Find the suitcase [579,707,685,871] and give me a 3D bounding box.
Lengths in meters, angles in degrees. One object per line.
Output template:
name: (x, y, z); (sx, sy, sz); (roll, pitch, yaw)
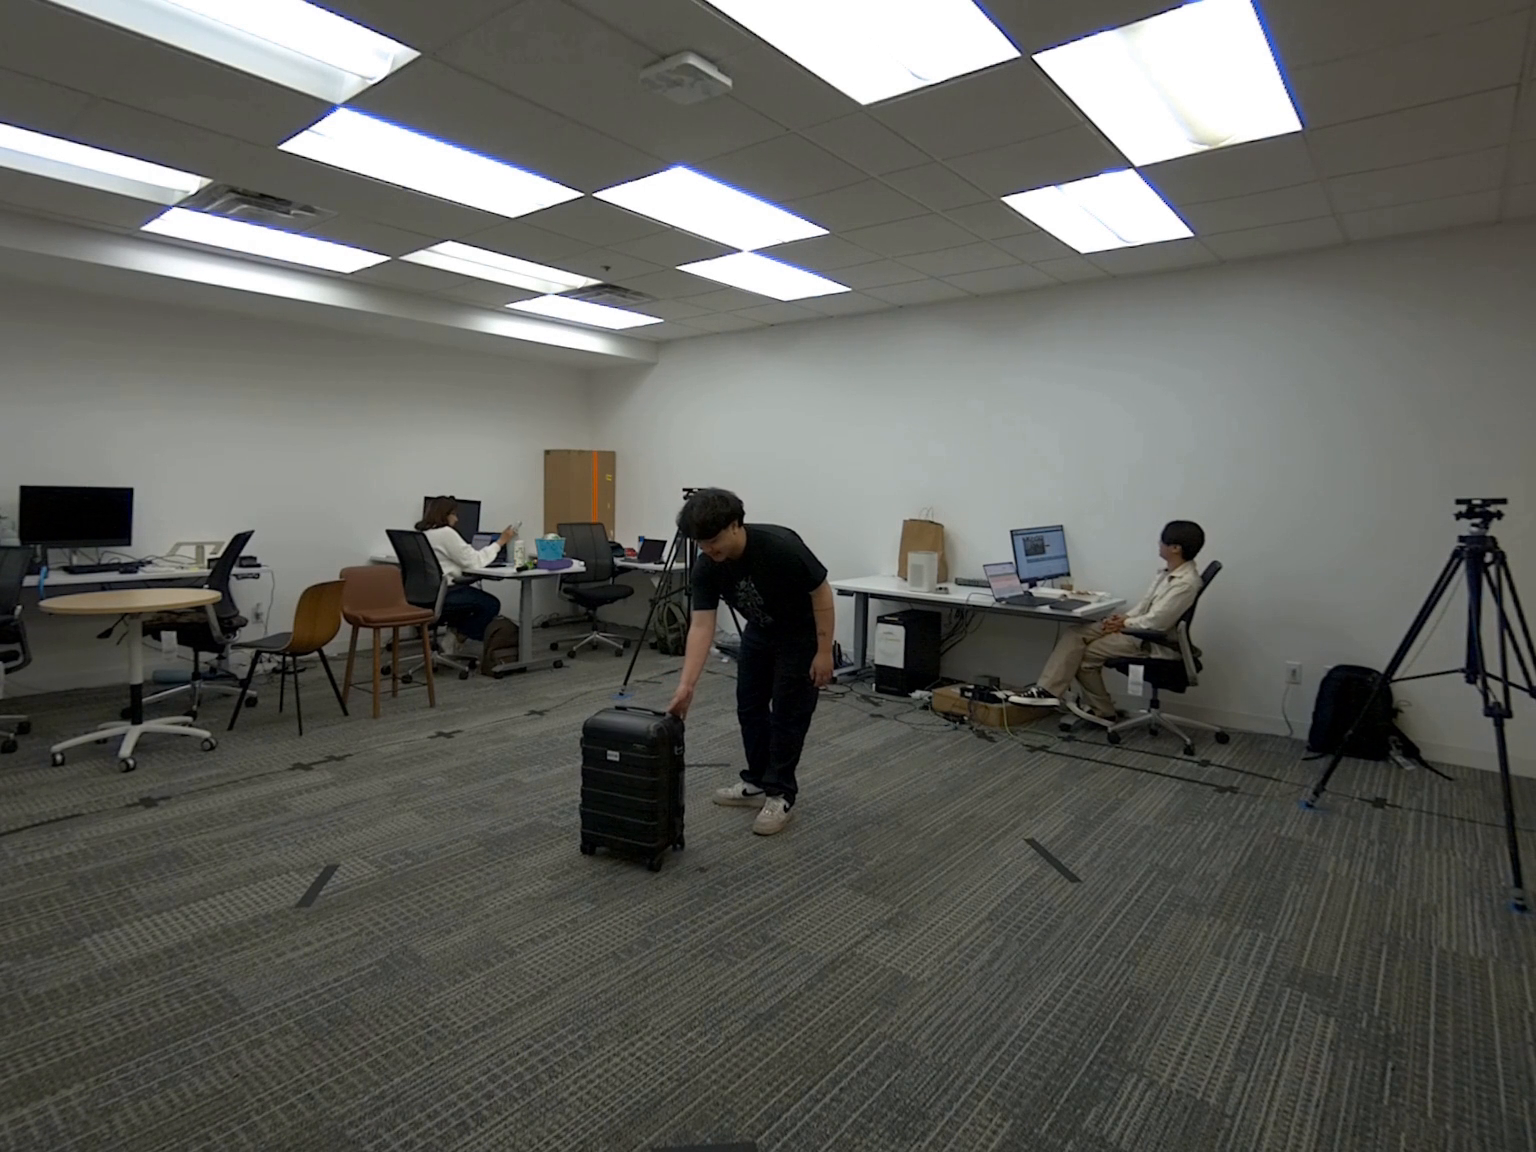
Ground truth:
suitcase: (-0.520, 0.778, 3.222); (0.385, 0.547, 0.243); (4, 5, 25)
